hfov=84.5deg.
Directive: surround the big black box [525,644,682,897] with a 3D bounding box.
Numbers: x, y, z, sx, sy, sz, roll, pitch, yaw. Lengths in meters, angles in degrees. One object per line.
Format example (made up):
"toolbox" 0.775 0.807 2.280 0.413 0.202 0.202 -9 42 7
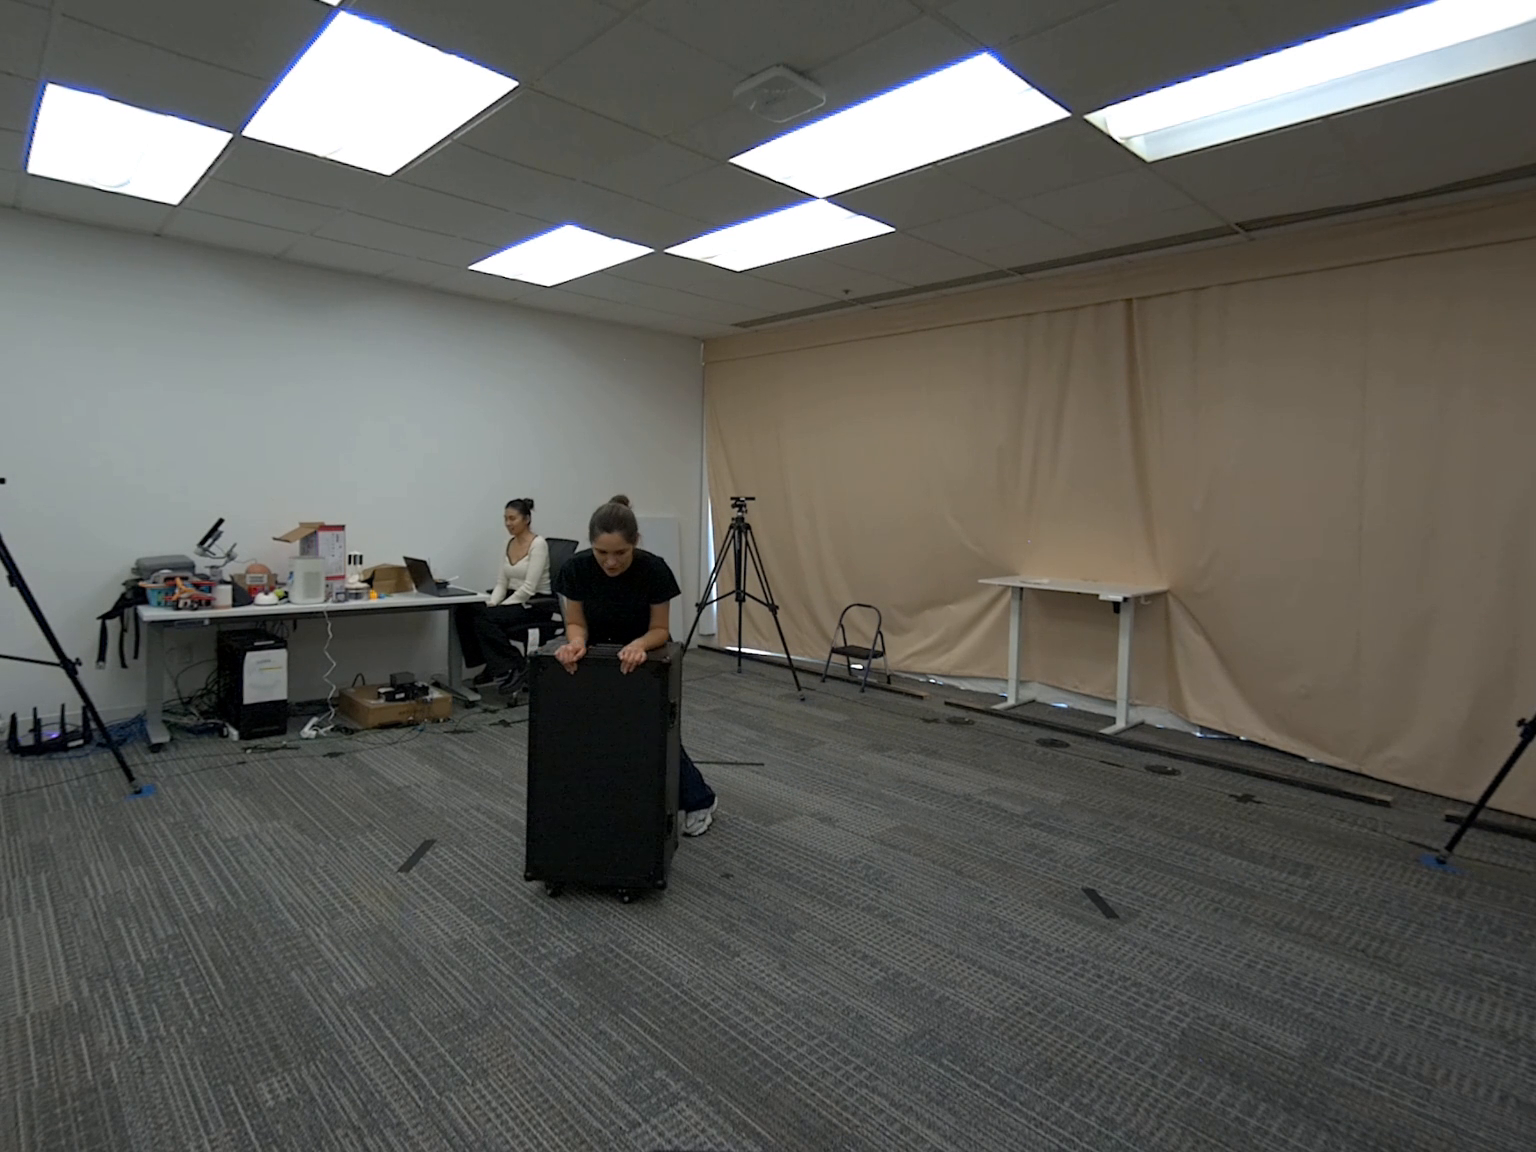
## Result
"big black box" -0.571 0.623 2.995 0.523 0.859 0.396 2 4 4
